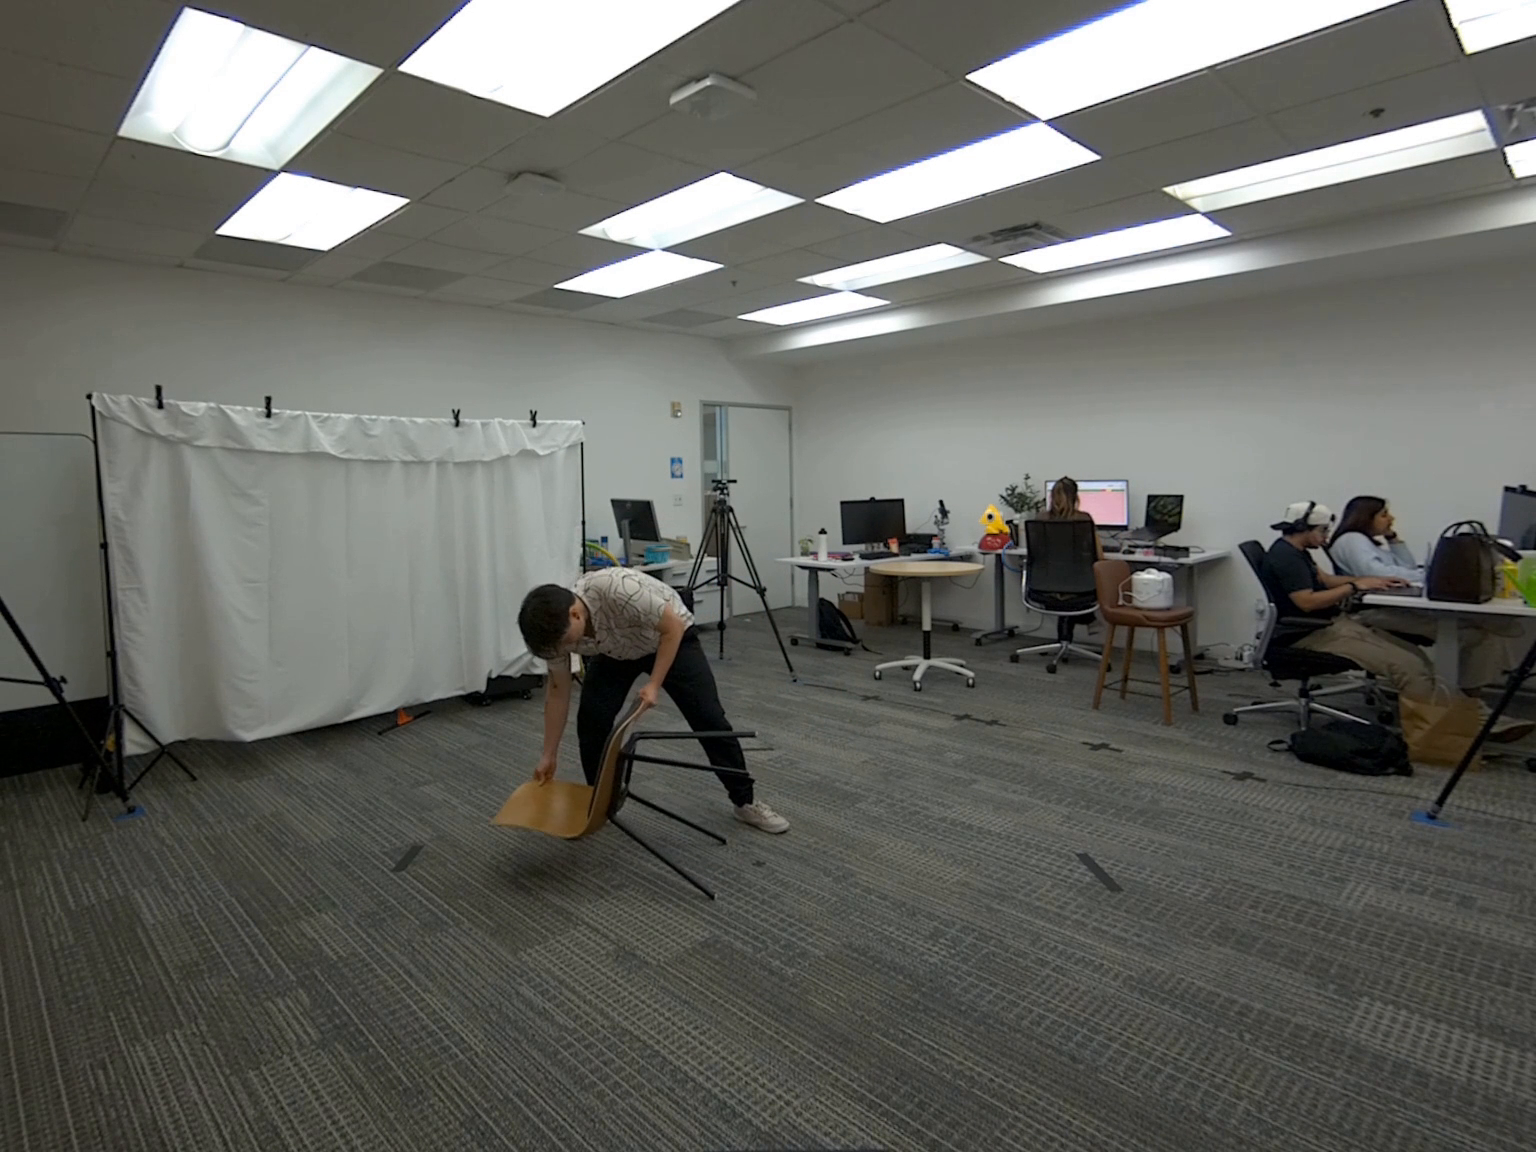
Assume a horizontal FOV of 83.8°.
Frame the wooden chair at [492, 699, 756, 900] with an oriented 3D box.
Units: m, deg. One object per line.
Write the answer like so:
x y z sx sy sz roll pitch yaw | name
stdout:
-0.522 0.719 3.079 0.882 0.521 0.478 11 5 4 | wooden chair
